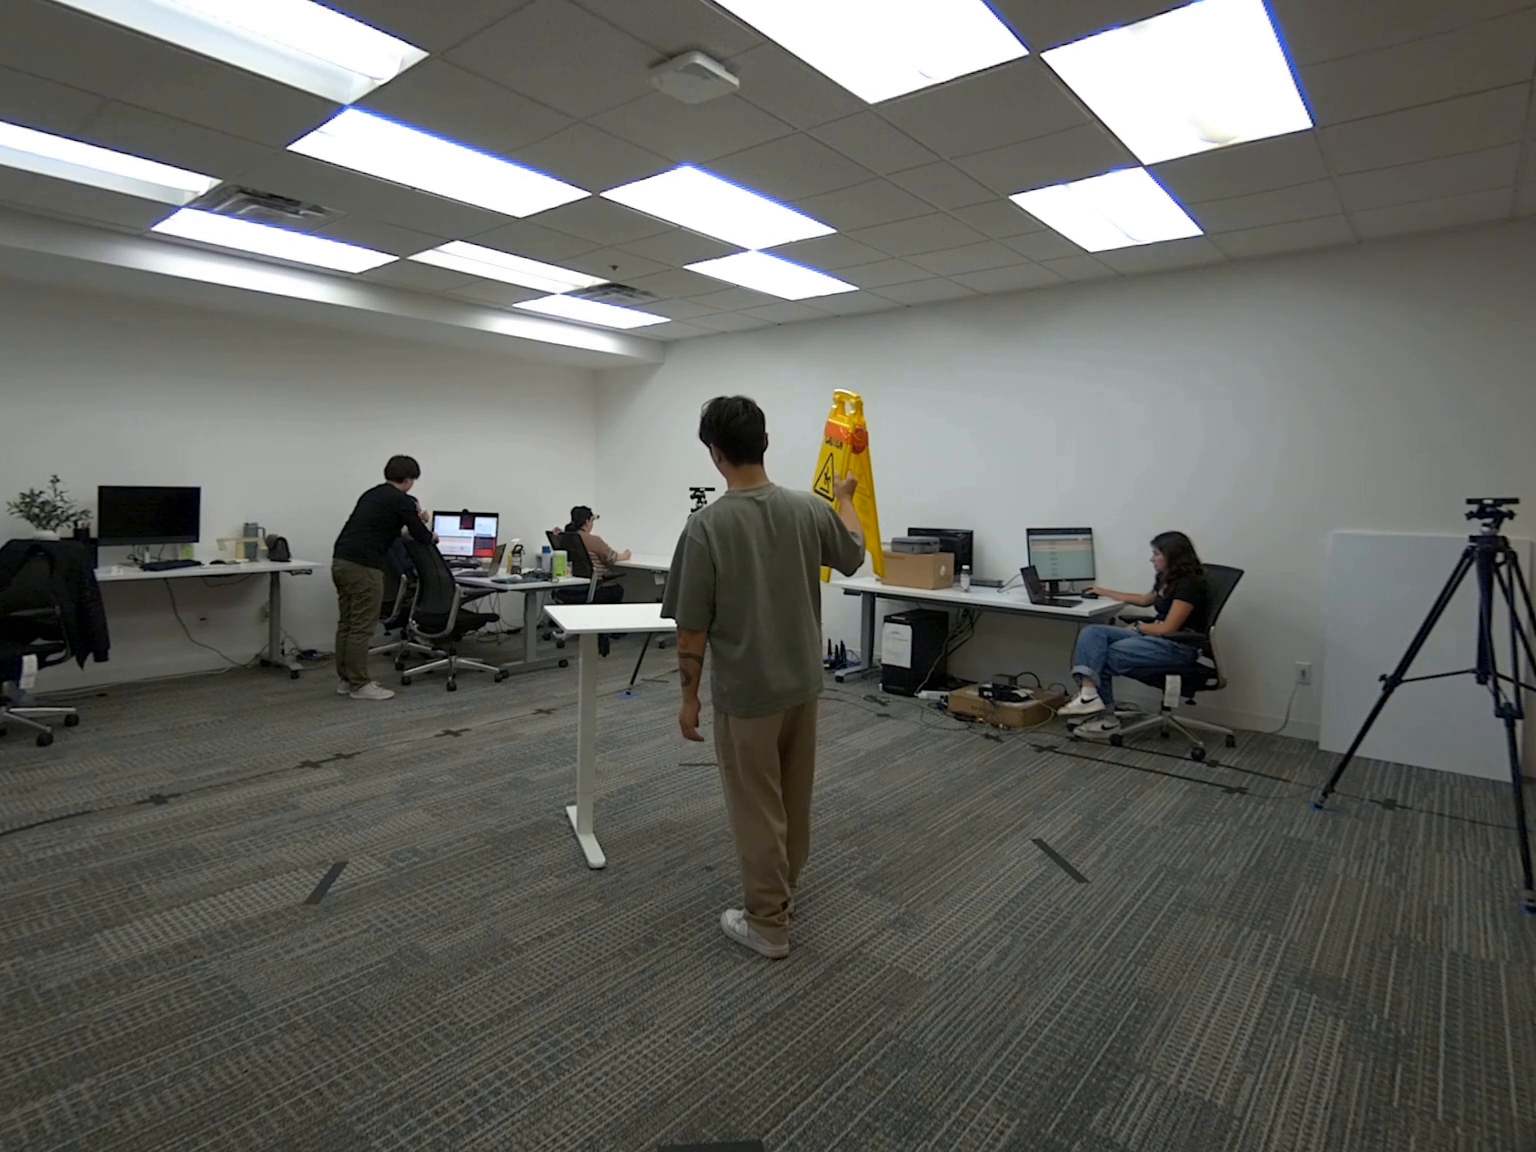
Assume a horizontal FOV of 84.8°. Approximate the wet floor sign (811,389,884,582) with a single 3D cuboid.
[{"bbox_3d":[0.267,-0.337,3.047,0.285,0.636,0.291,-4,17,-16],"label":"wet floor sign"}]
